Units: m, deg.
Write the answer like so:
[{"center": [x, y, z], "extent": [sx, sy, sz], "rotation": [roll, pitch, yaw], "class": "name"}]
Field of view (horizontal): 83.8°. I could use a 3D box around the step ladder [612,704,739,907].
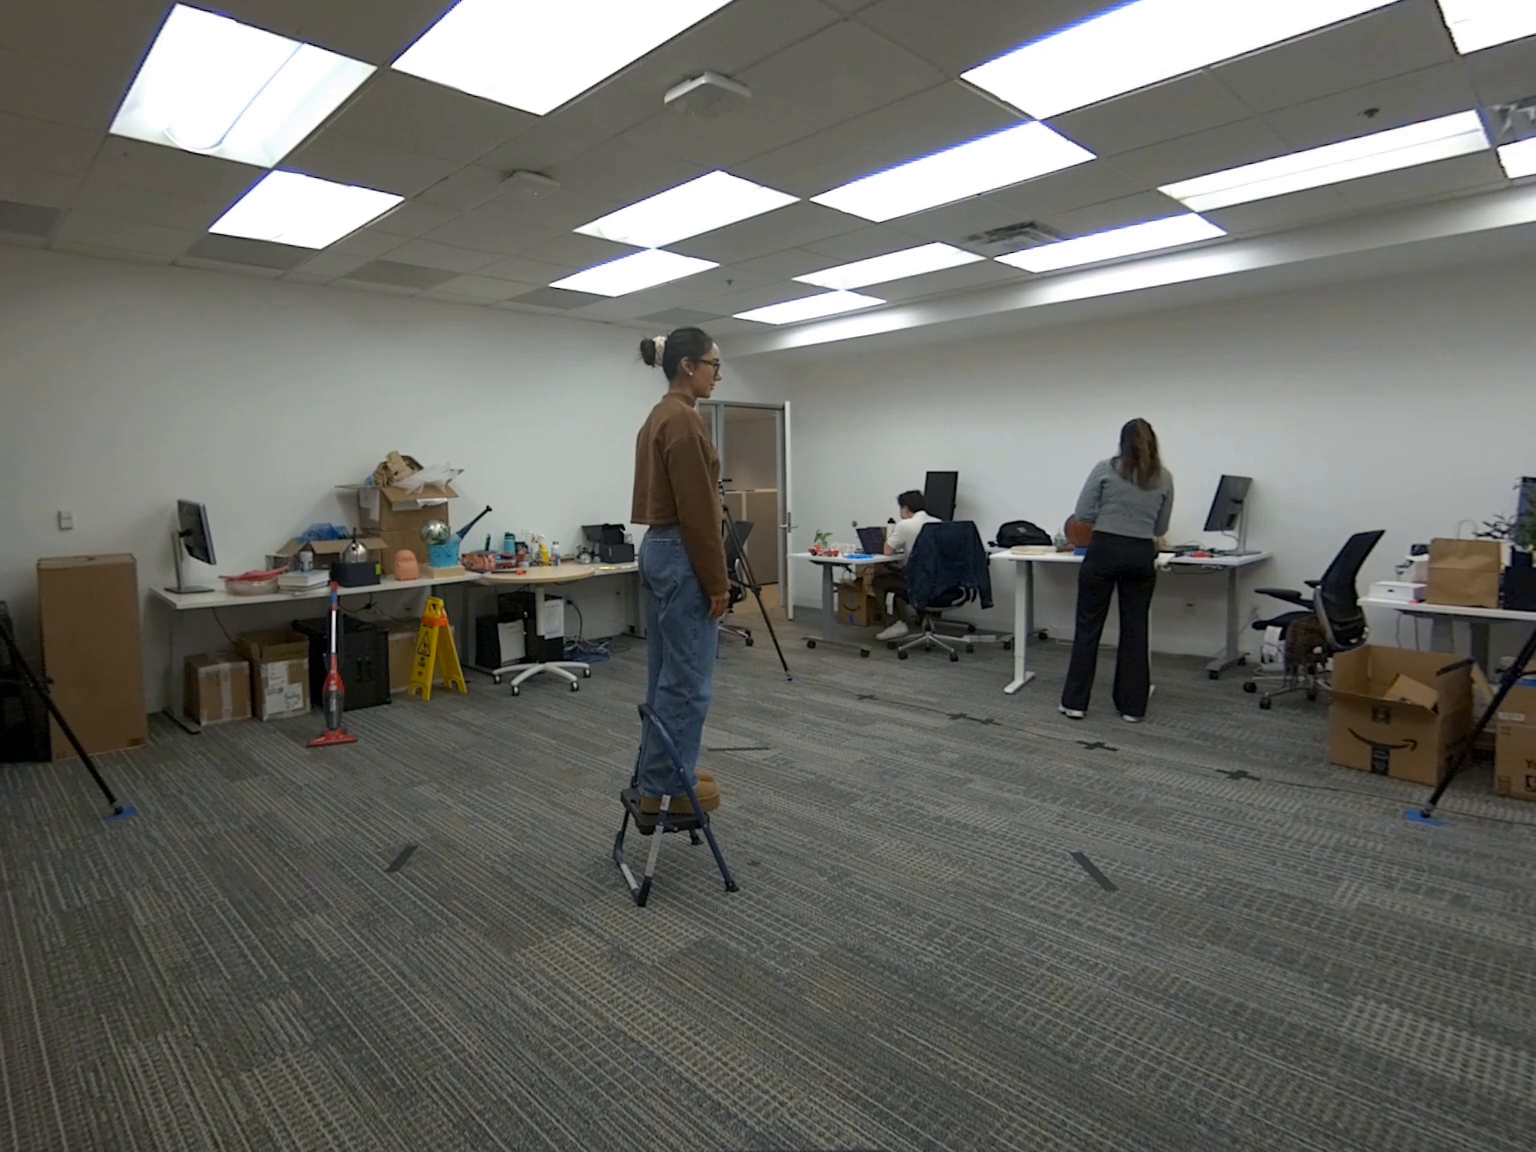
[{"center": [-0.347, 0.761, 3.027], "extent": [0.343, 0.604, 0.440], "rotation": [-3, 5, -22], "class": "step ladder"}]
